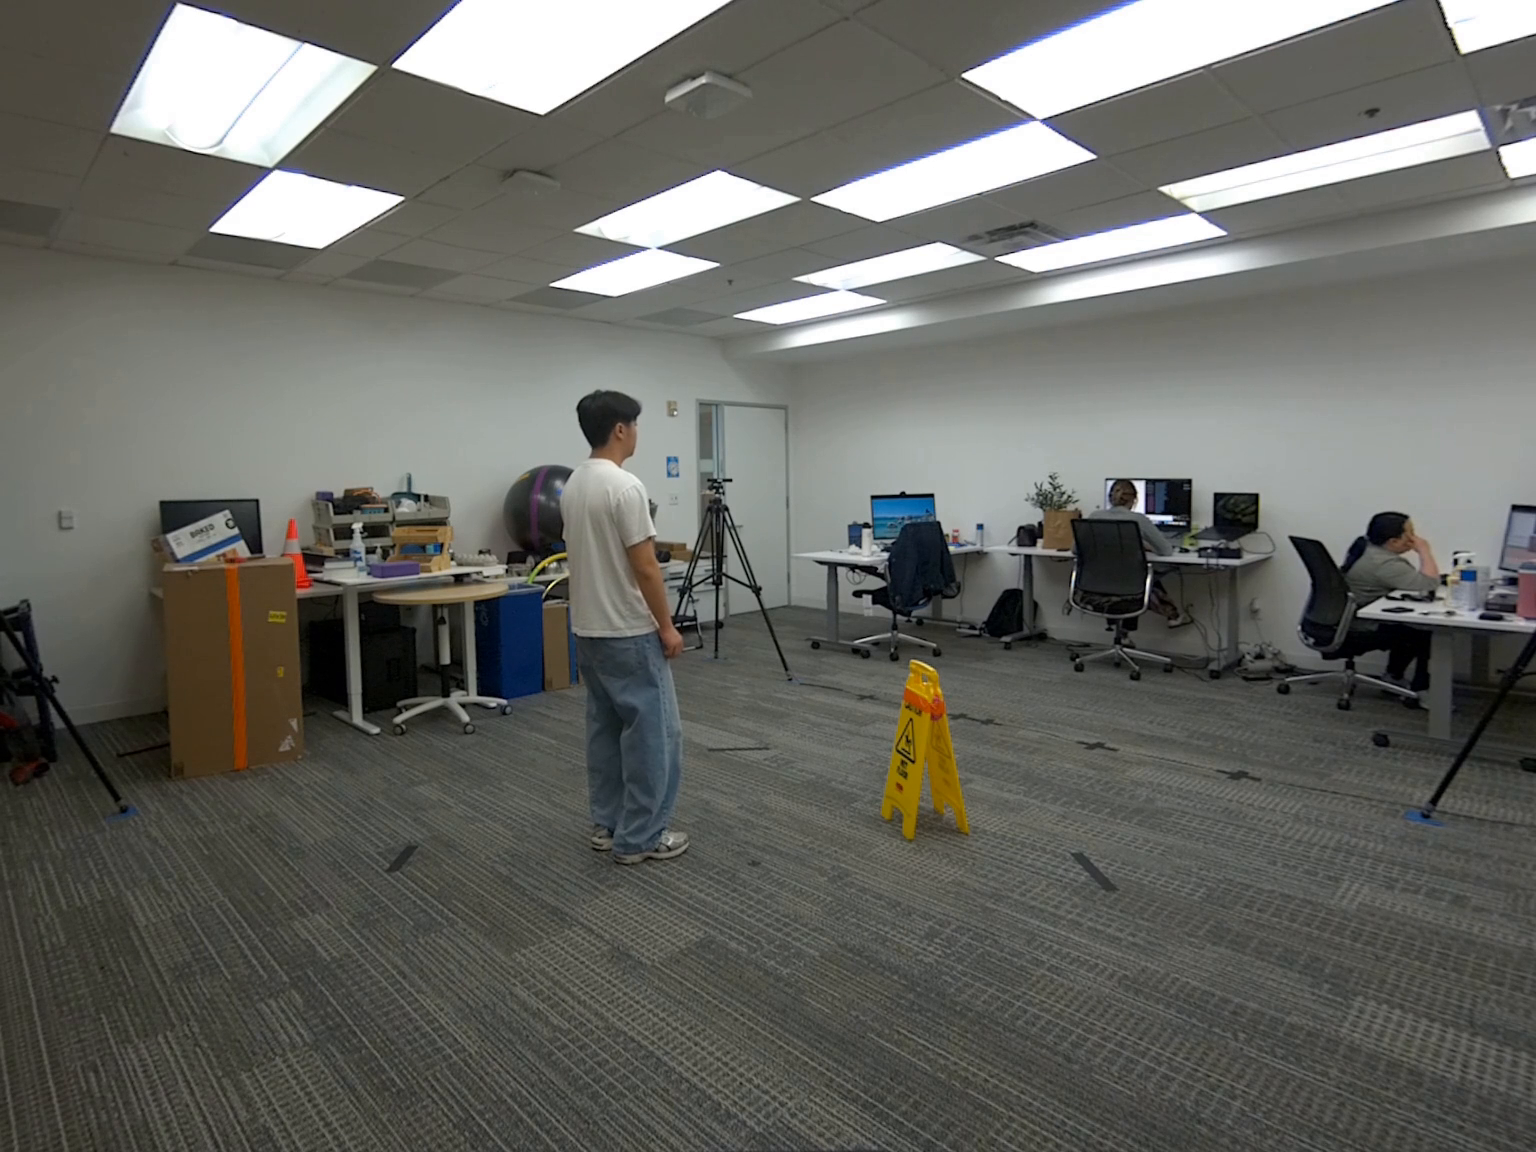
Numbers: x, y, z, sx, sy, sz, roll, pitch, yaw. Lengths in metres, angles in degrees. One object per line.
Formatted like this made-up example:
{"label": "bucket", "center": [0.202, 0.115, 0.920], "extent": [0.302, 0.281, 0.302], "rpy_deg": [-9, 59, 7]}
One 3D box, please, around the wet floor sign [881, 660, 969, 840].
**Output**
{"label": "wet floor sign", "center": [0.624, 0.679, 3.398], "extent": [0.286, 0.643, 0.287], "rpy_deg": [-2, 4, -13]}
